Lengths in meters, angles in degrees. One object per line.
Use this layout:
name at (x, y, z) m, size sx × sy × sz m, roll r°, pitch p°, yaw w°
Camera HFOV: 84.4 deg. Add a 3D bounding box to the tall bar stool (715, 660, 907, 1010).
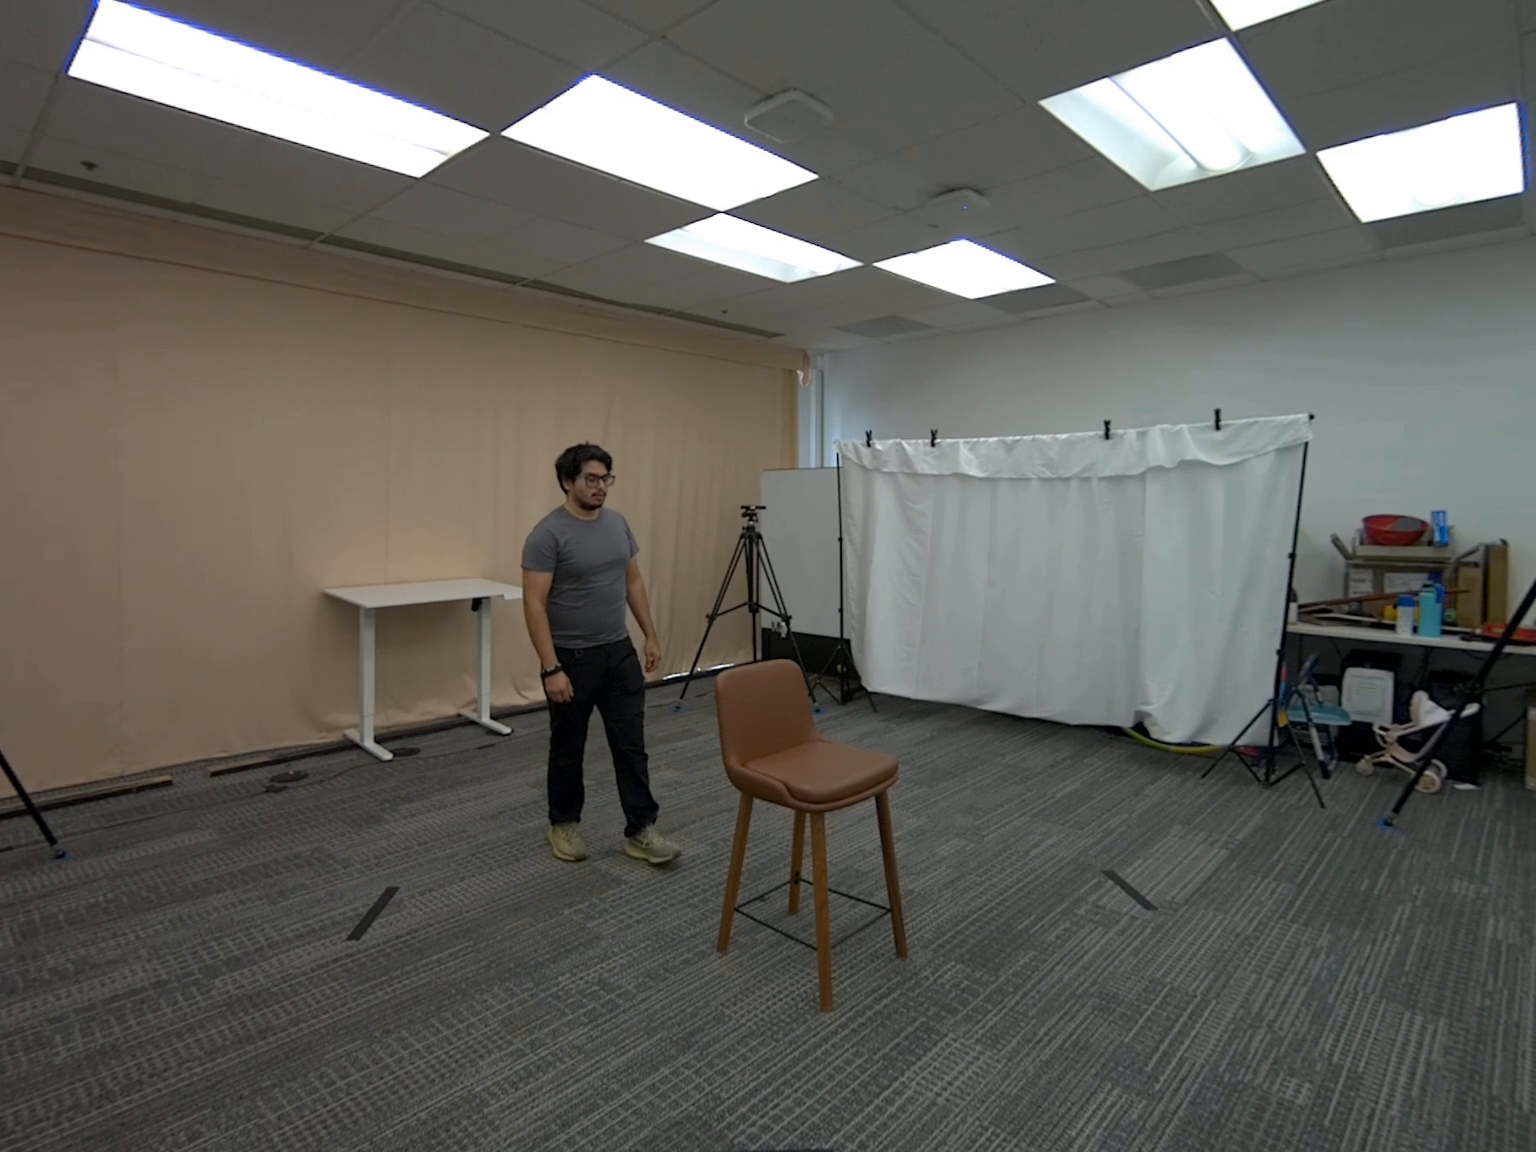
tall bar stool at (0.129, 0.742, 2.593) m, size 0.483 × 0.888 × 0.442 m, roll 1°, pitch 3°, yaw 44°
